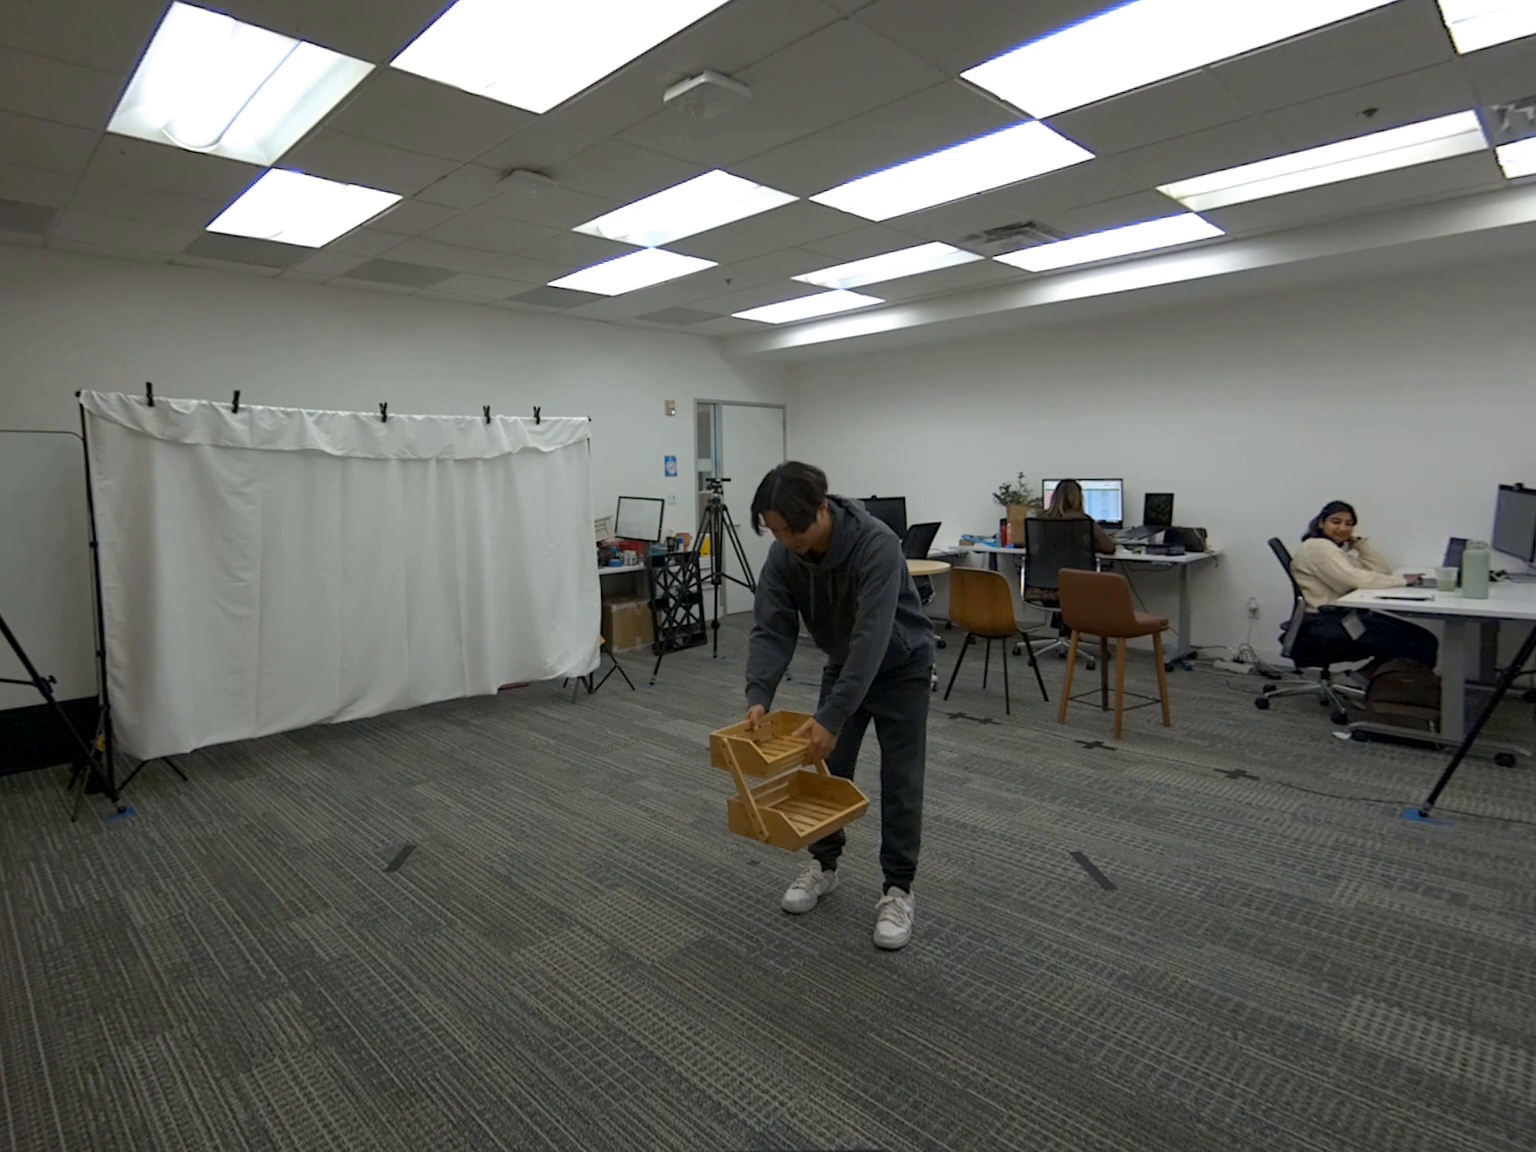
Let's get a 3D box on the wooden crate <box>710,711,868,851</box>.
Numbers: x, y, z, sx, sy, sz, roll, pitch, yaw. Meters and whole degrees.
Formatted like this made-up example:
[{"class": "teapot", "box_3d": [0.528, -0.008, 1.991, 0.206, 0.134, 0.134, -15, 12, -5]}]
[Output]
[{"class": "wooden crate", "box_3d": [0.054, 0.536, 2.317, 0.311, 0.272, 0.316, -1, 5, 42]}]
